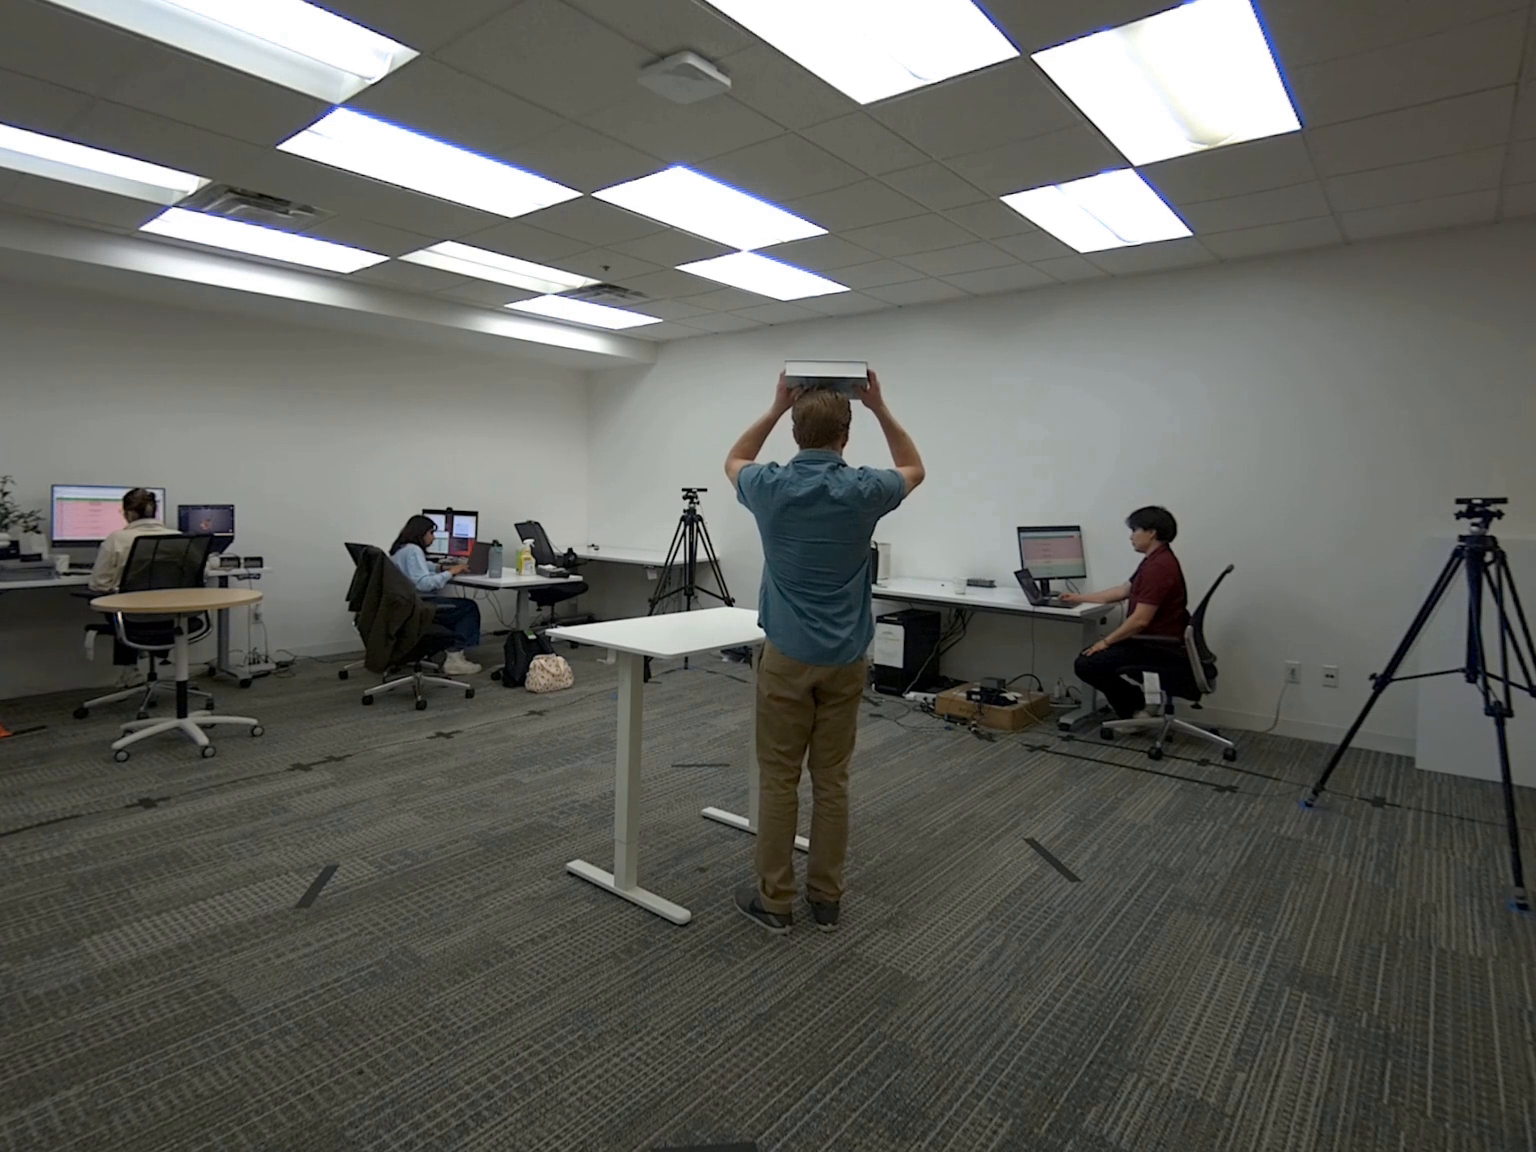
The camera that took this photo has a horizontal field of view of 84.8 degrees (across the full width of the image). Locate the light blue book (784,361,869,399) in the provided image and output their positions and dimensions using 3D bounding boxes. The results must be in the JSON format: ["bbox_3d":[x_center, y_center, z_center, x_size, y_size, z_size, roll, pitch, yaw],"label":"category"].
[{"bbox_3d":[0.186,-0.639,2.770,0.264,0.060,0.187,4,-13,8],"label":"light blue book"}]
